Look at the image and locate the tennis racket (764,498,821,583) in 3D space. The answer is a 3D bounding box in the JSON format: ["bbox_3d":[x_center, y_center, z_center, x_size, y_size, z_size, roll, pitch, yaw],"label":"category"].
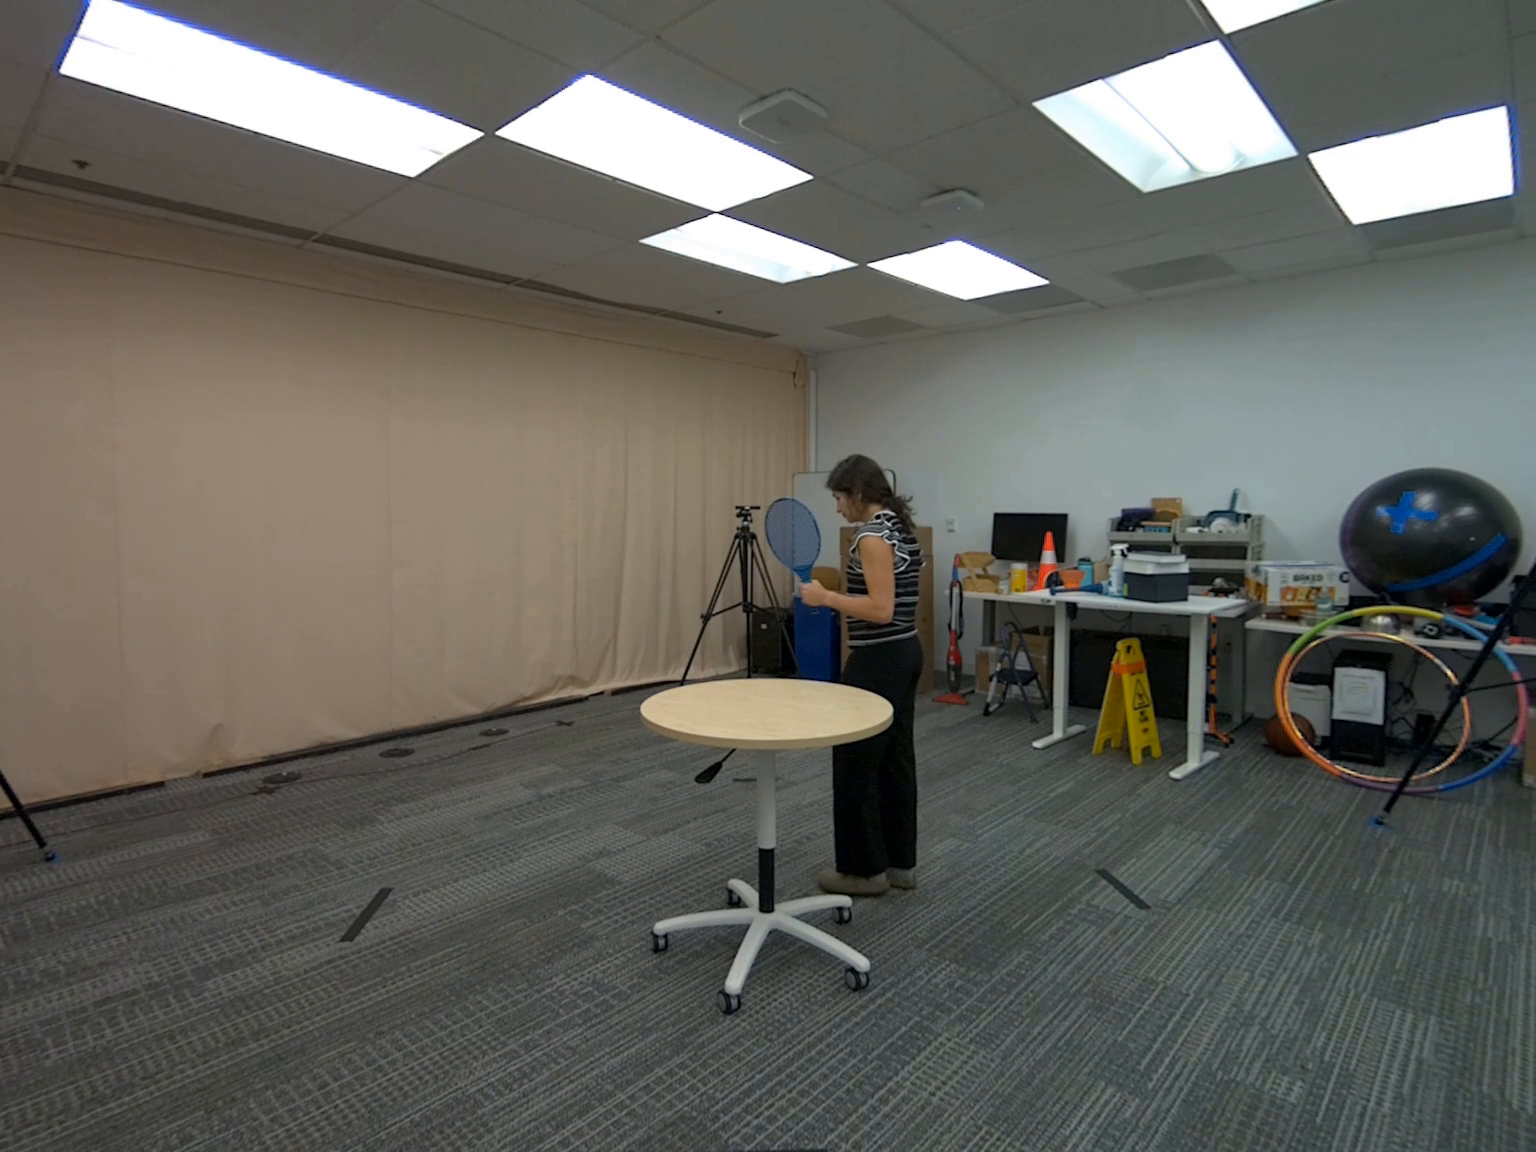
[{"bbox_3d":[0.129,-0.072,2.993,0.218,0.430,0.031,-12,8,25],"label":"tennis racket"}]
